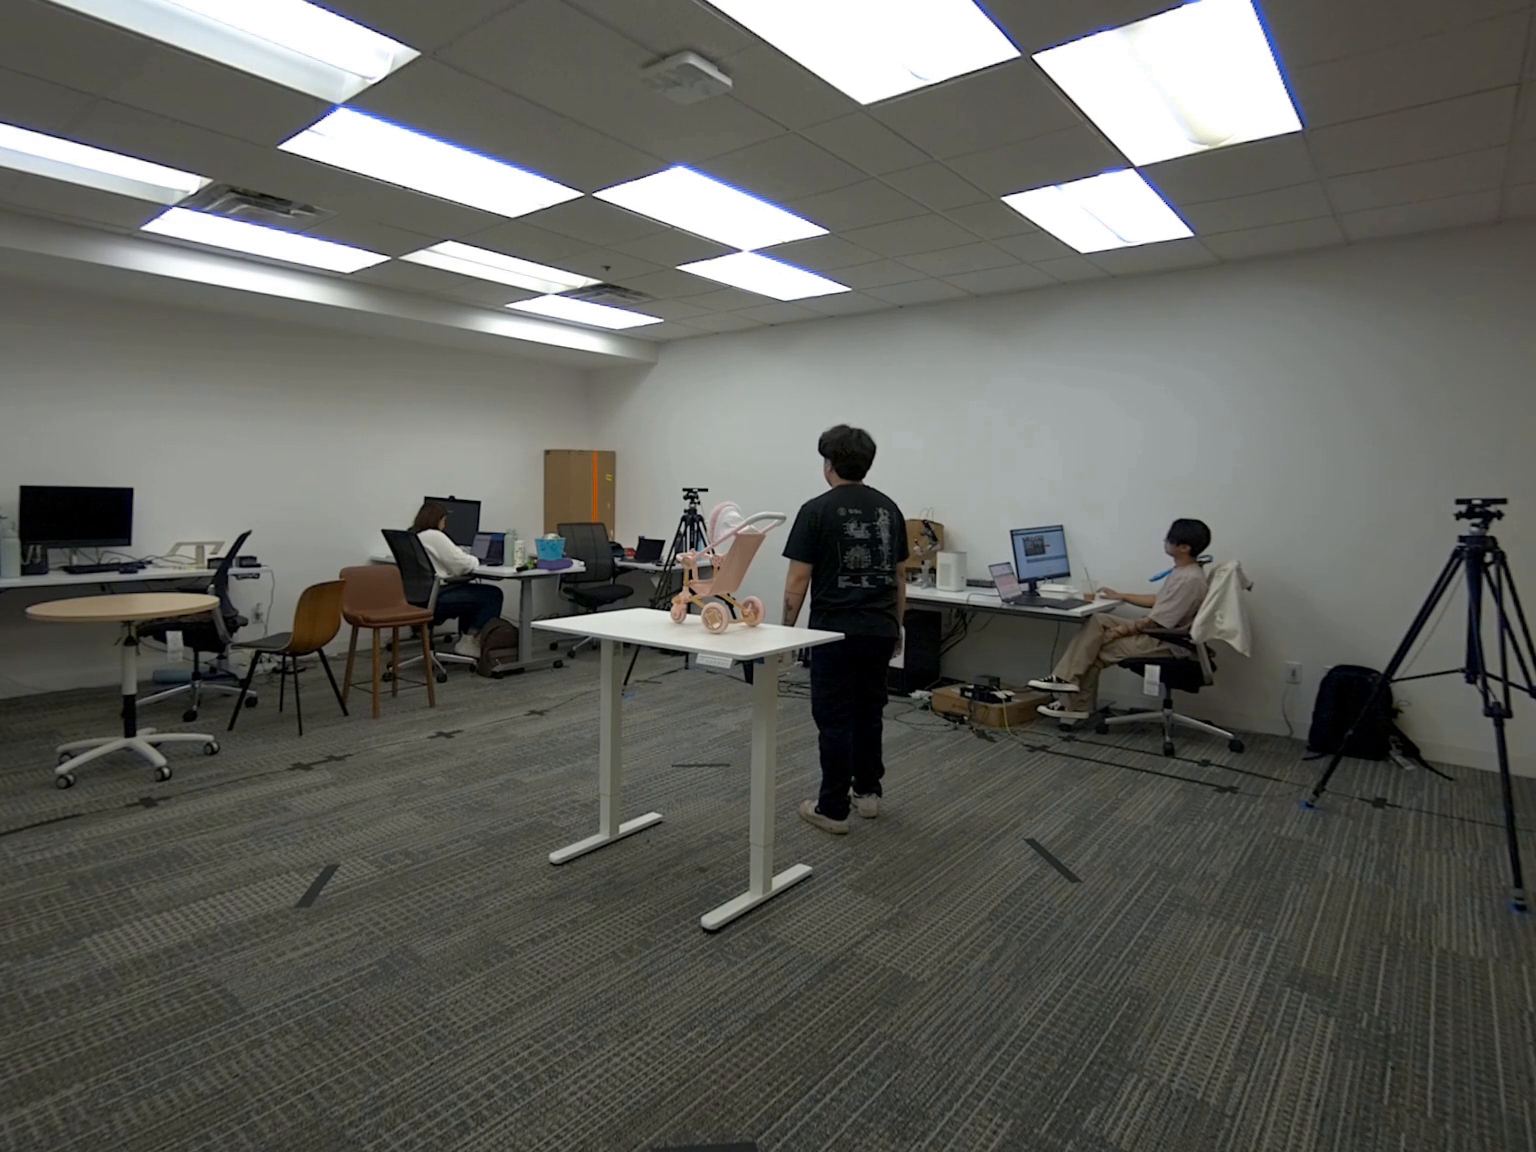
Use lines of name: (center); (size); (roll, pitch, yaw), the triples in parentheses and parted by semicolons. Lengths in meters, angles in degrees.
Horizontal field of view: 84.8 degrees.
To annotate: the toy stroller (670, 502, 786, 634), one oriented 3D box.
toy stroller: (-0.182, -0.033, 3.092); (0.355, 0.531, 0.273); (23, 15, 35)
